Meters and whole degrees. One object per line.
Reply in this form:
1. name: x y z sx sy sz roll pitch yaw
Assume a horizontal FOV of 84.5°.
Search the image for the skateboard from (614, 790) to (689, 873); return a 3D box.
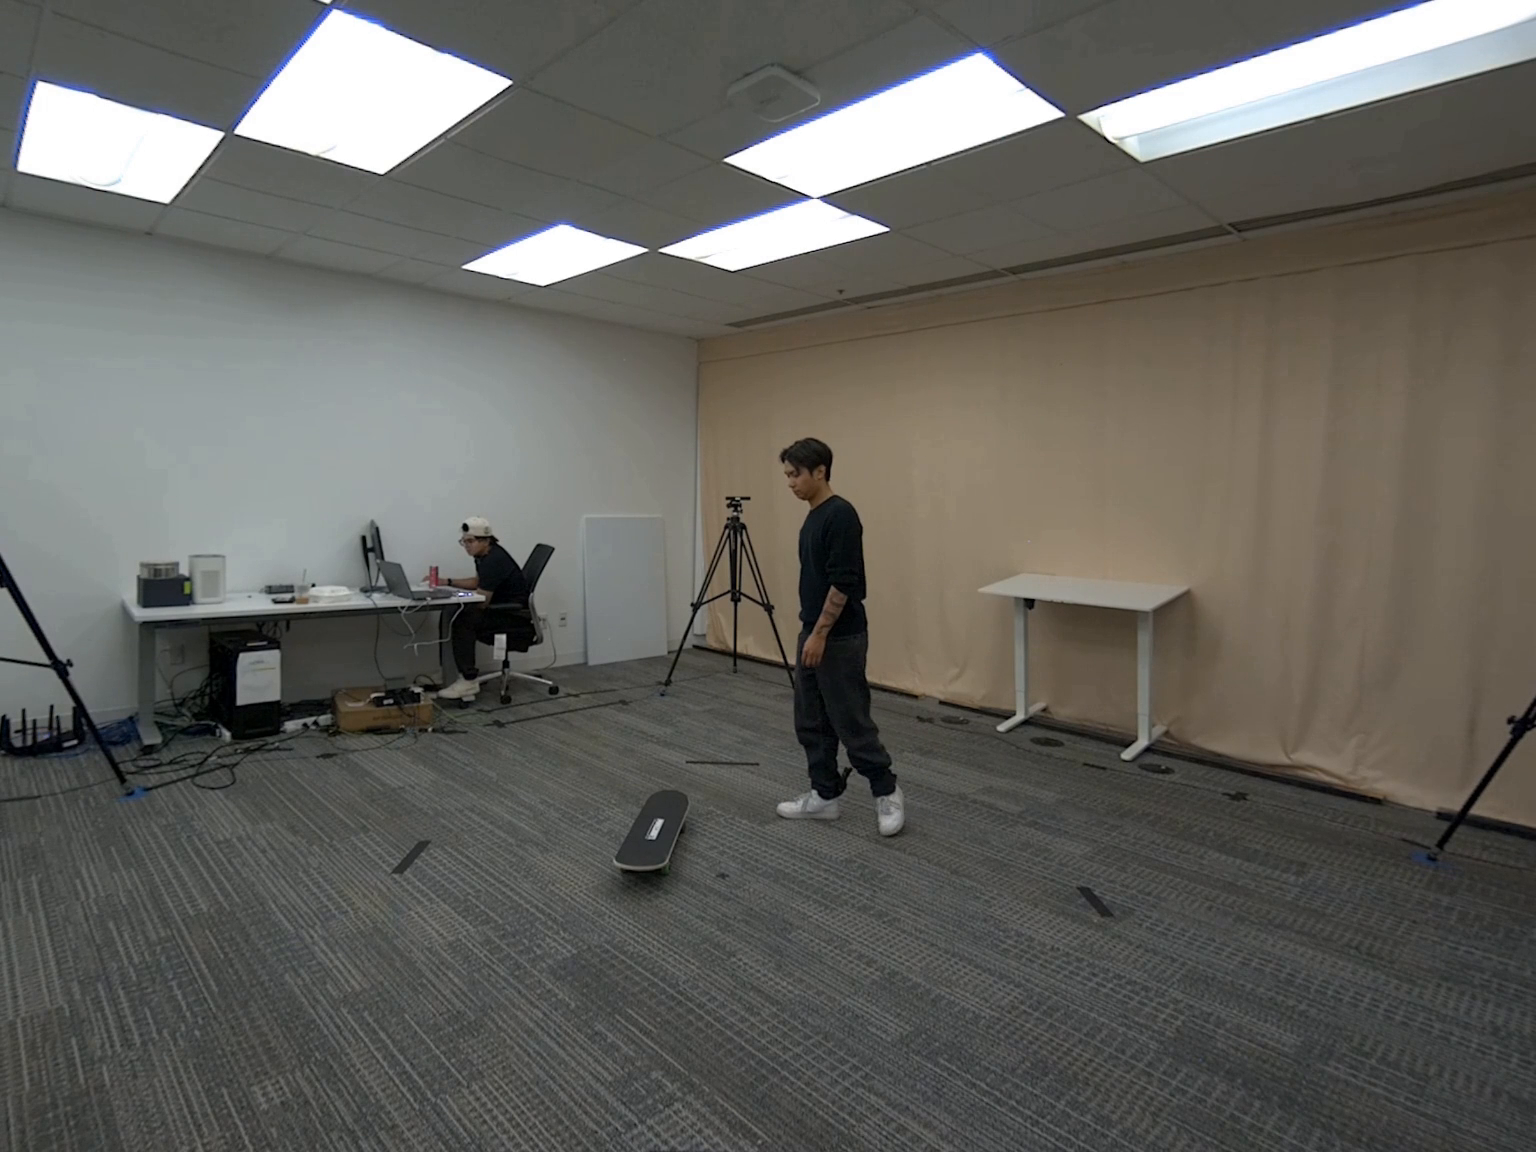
1. skateboard: -0.456 1.026 3.305 0.194 0.110 0.785 1 5 2
